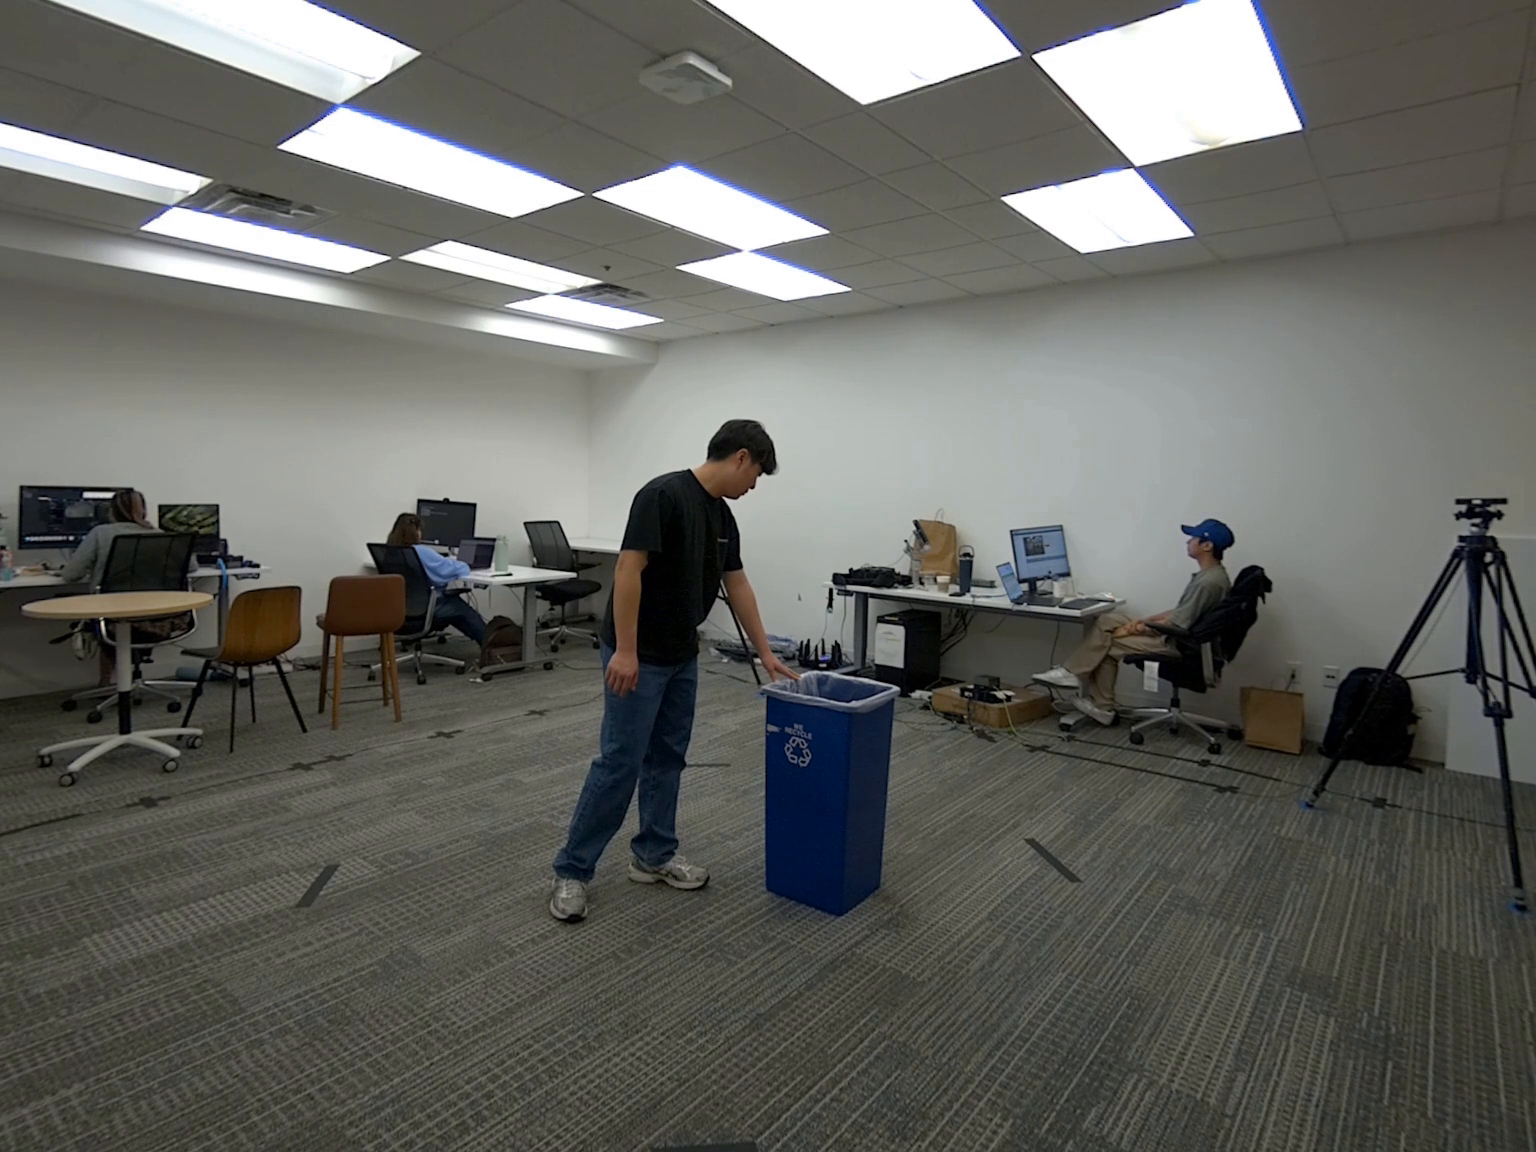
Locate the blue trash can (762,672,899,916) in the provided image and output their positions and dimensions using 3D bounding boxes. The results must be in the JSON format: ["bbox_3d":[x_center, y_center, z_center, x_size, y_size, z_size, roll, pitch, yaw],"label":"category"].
[{"bbox_3d":[0.209,0.738,2.963,0.386,0.711,0.367,3,4,34],"label":"blue trash can"}]
